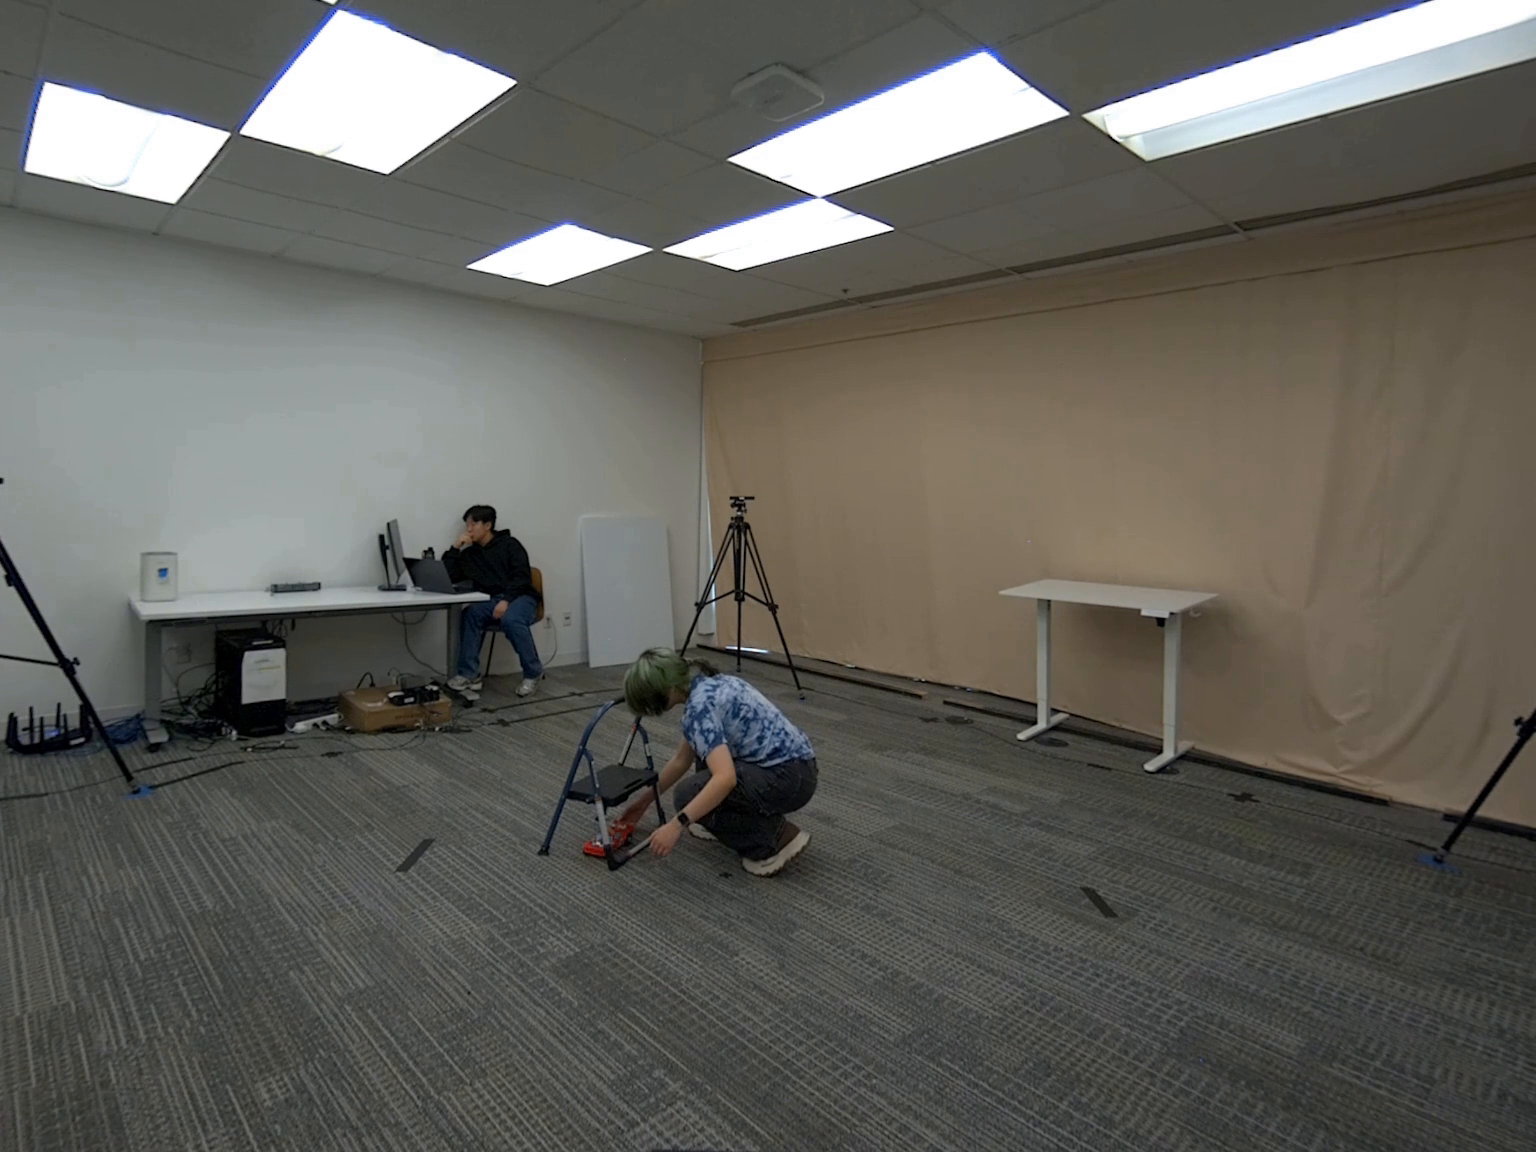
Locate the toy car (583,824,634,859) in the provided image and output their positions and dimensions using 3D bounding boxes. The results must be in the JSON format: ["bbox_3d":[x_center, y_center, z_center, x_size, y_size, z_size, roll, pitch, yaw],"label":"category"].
[{"bbox_3d":[-0.624,1.041,3.319,0.132,0.082,0.253,-2,16,21],"label":"toy car"}]
